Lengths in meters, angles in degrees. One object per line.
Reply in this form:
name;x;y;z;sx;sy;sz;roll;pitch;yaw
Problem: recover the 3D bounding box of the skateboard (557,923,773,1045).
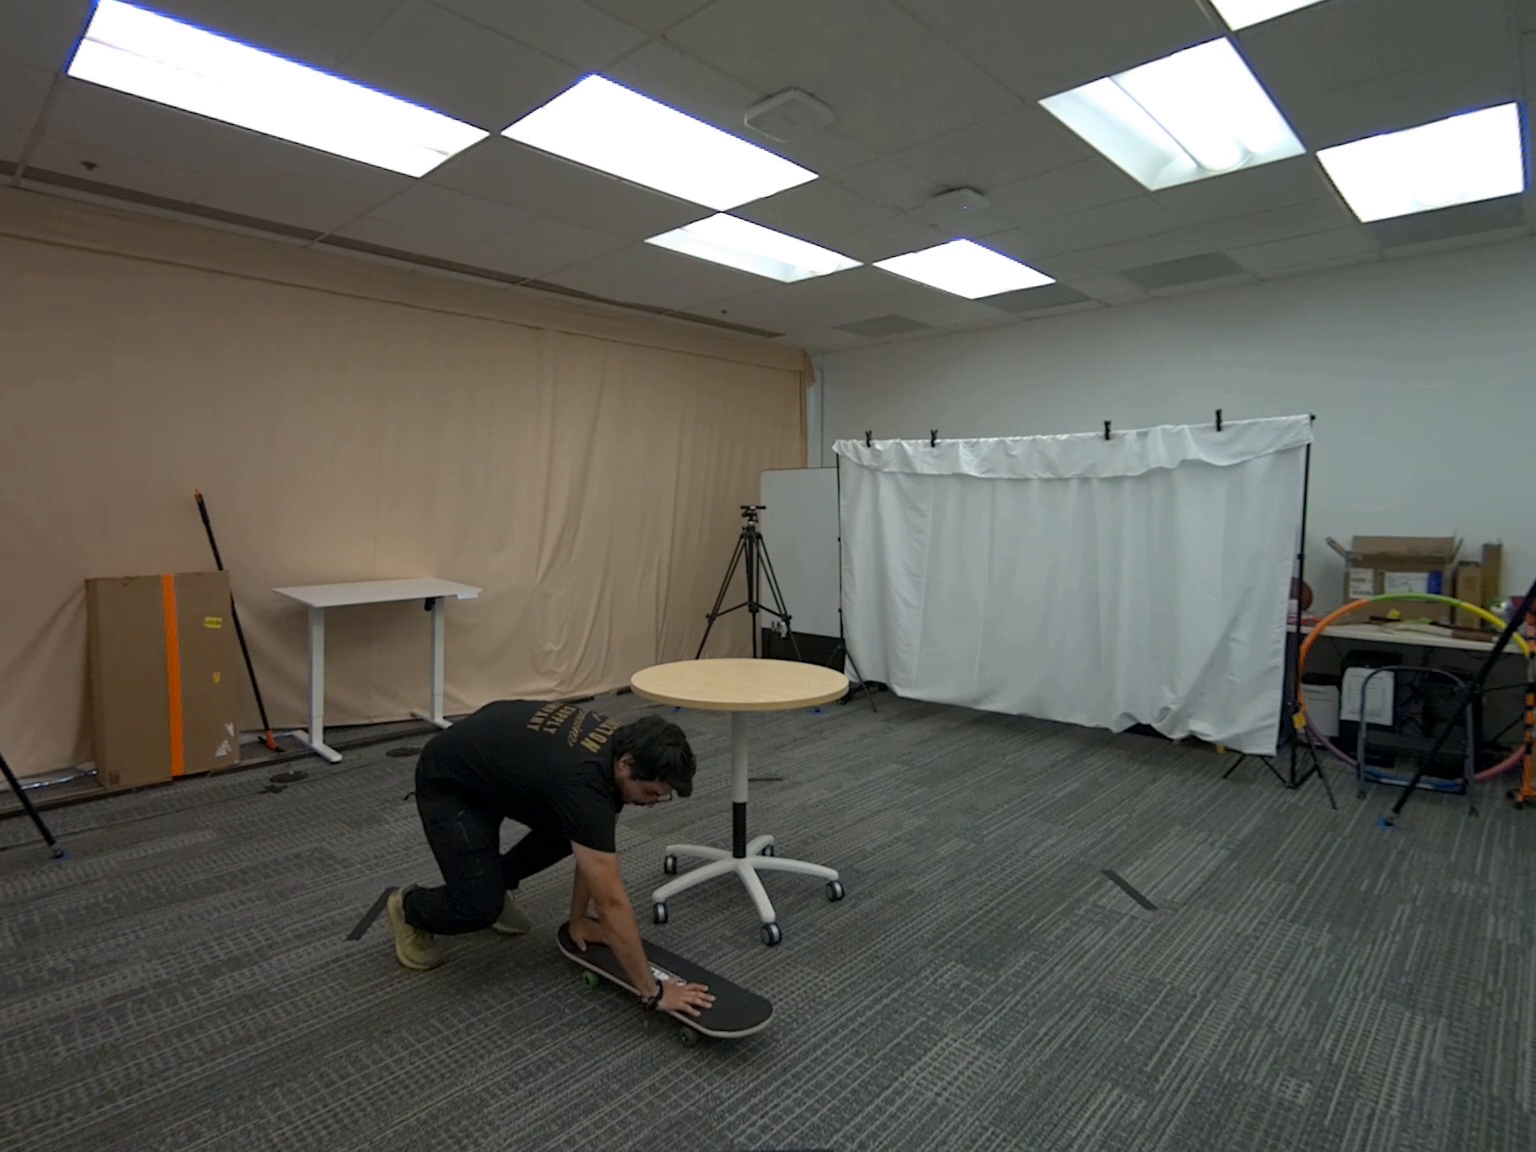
skateboard;-0.307;1.147;2.351;0.811;0.110;0.188;3;8;41
